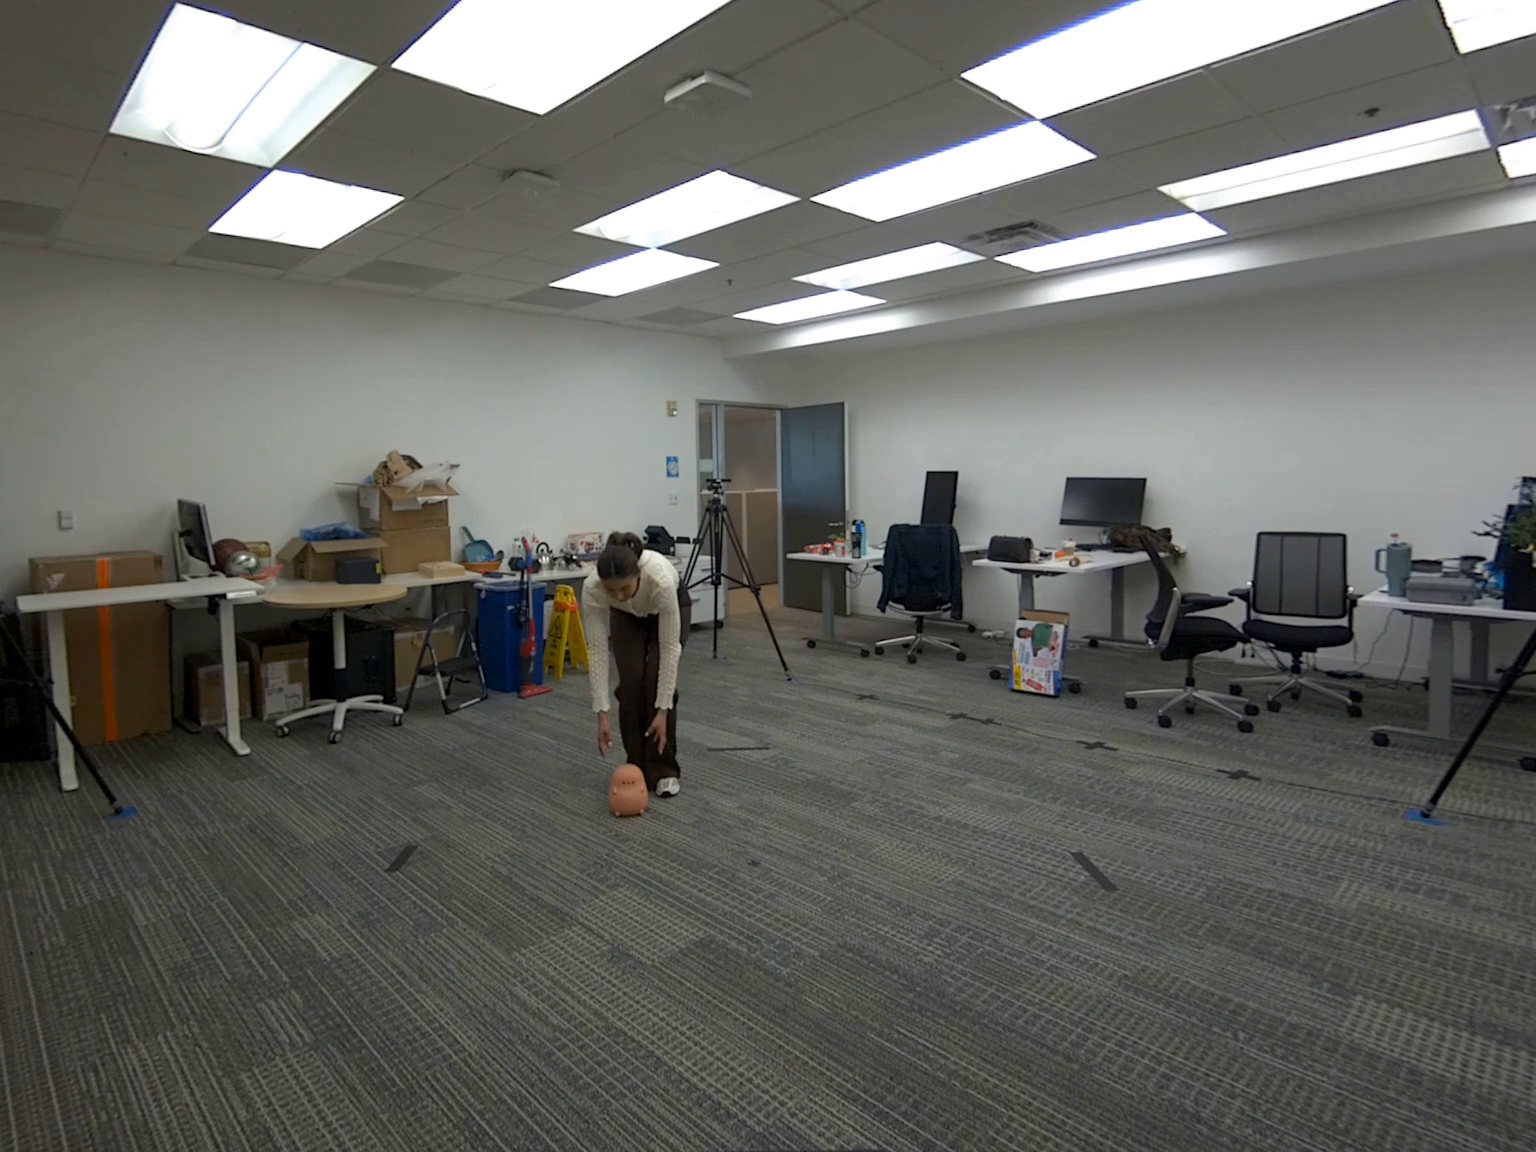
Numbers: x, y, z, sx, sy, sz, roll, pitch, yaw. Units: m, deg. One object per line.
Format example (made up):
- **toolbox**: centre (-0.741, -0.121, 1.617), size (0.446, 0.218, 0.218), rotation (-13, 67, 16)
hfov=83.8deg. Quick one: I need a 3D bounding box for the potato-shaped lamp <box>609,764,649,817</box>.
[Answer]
- **potato-shaped lamp**: centre (-0.591, 0.898, 3.615), size (0.164, 0.197, 0.173), rotation (-3, 4, -6)
